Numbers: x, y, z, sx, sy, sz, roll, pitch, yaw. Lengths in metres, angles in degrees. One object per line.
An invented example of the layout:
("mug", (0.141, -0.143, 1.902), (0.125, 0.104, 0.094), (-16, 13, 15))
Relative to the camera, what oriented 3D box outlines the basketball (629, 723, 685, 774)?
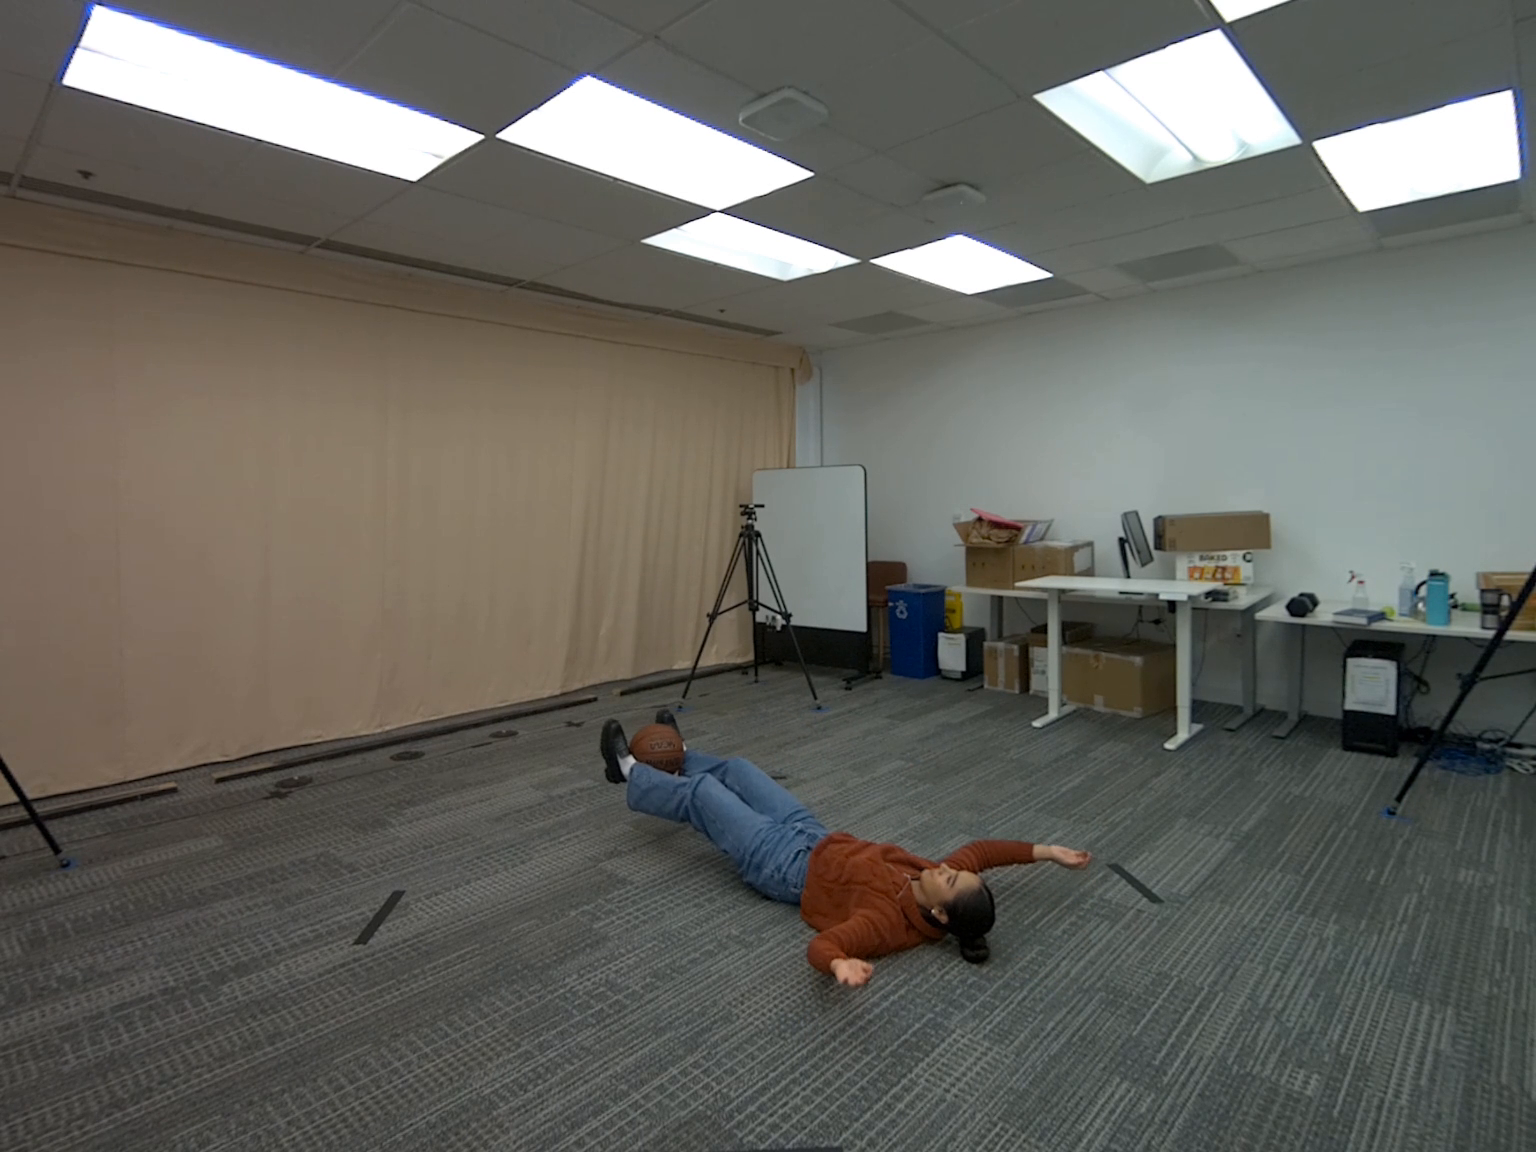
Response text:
("basketball", (-0.478, 0.752, 3.563), (0.235, 0.235, 0.237), (2, 5, -2))
